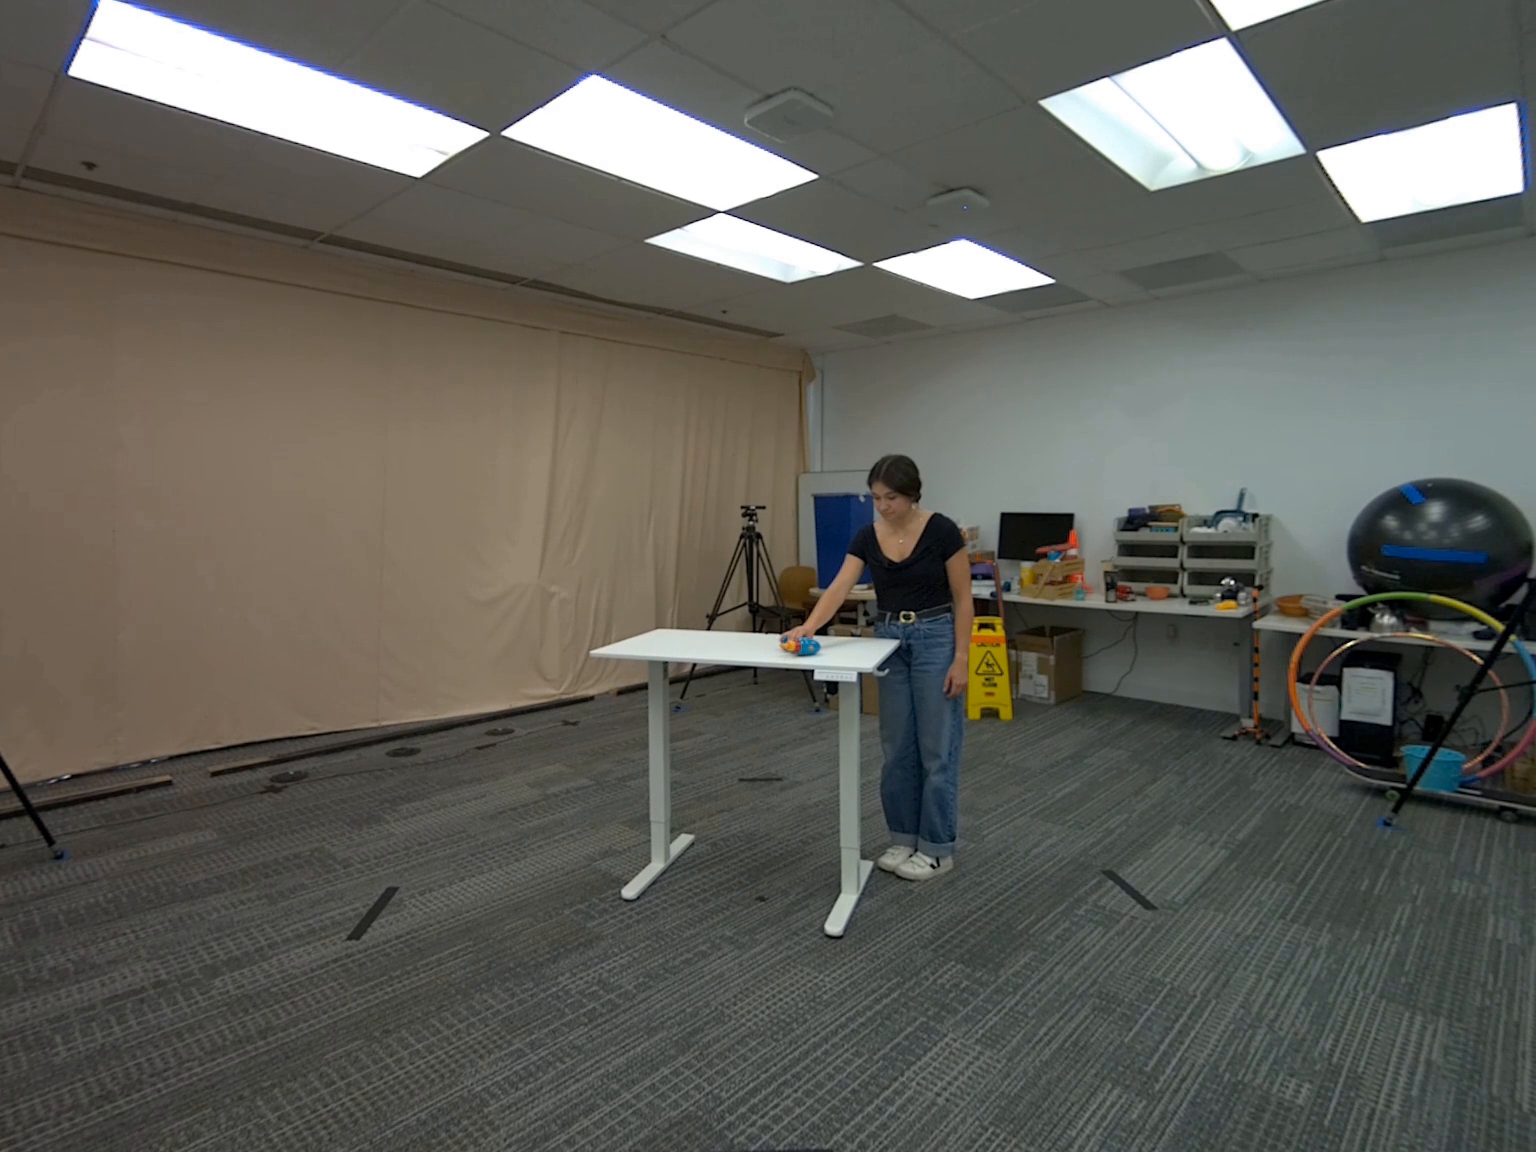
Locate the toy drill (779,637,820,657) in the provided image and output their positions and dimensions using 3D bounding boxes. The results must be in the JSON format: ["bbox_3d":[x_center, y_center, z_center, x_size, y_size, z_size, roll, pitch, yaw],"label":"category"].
[{"bbox_3d":[0.082,0.242,2.871,0.165,0.061,0.150,1,4,-32],"label":"toy drill"}]
